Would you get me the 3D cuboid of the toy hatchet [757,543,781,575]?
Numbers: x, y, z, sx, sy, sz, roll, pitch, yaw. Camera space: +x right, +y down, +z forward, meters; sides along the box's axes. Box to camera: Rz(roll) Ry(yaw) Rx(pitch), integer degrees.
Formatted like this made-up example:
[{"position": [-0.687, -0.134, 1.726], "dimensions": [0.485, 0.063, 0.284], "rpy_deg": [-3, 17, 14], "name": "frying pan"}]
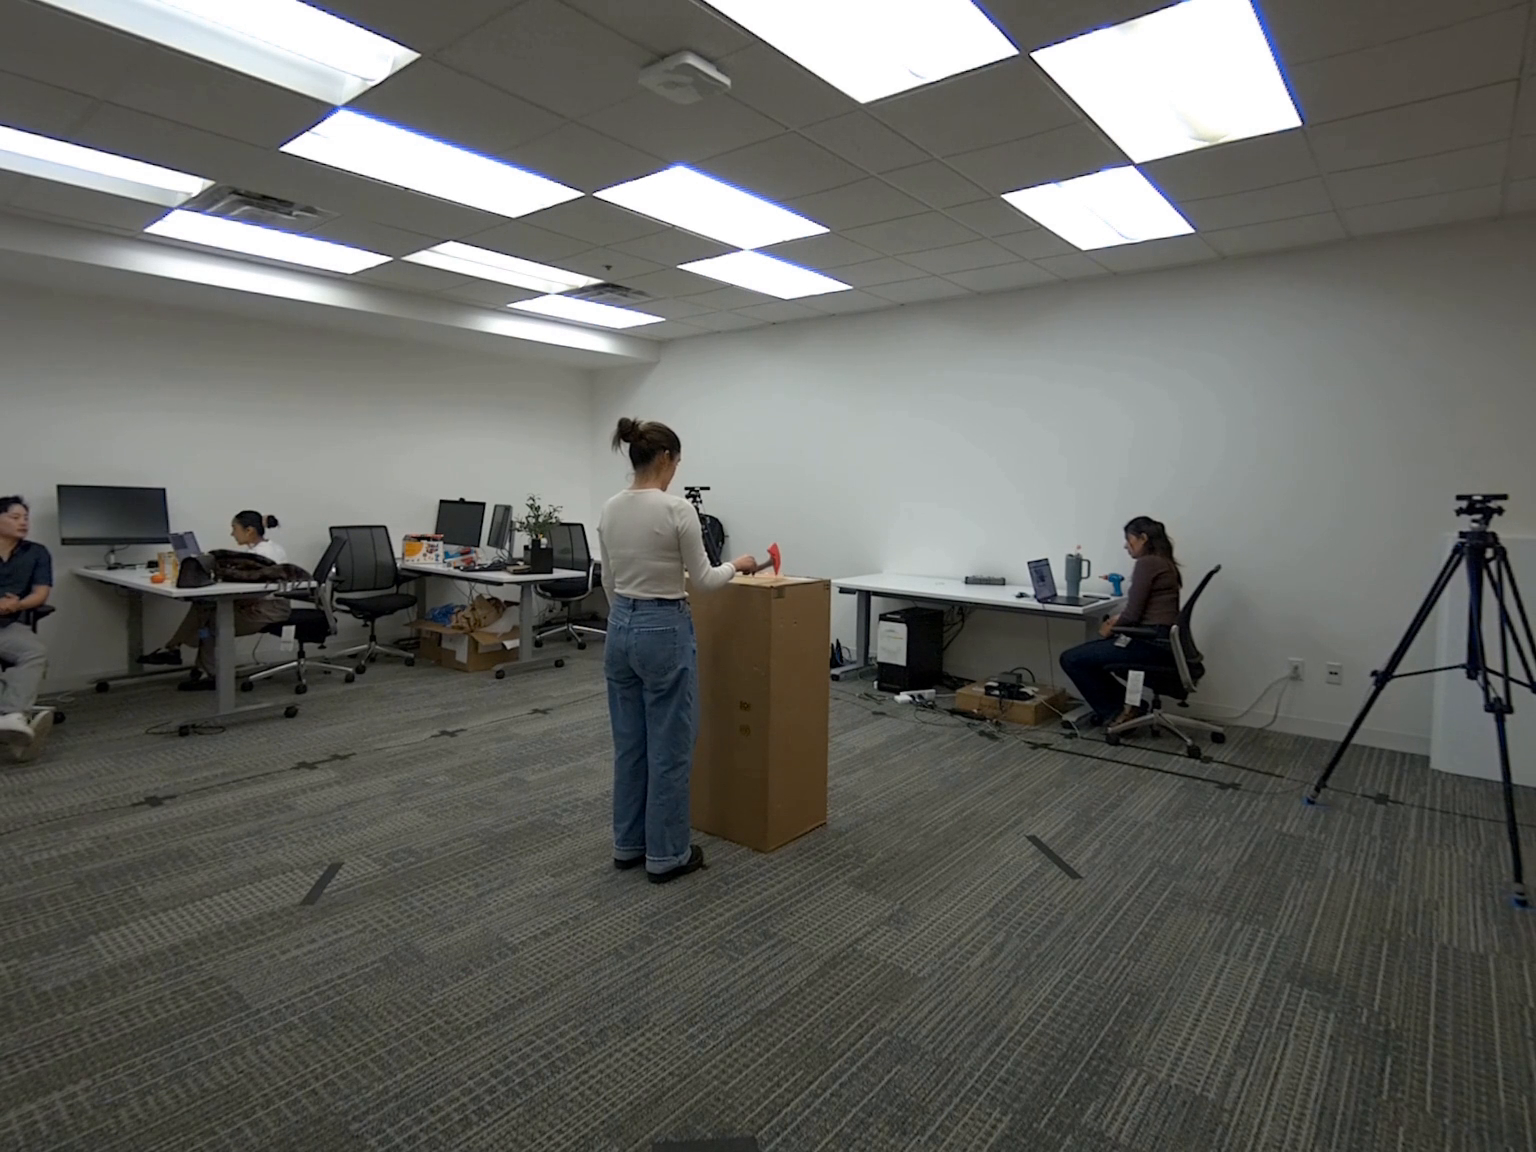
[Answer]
[{"position": [-0.024, -0.076, 3.335], "dimensions": [0.030, 0.131, 0.262], "rpy_deg": [7, 1, 31], "name": "toy hatchet"}]
